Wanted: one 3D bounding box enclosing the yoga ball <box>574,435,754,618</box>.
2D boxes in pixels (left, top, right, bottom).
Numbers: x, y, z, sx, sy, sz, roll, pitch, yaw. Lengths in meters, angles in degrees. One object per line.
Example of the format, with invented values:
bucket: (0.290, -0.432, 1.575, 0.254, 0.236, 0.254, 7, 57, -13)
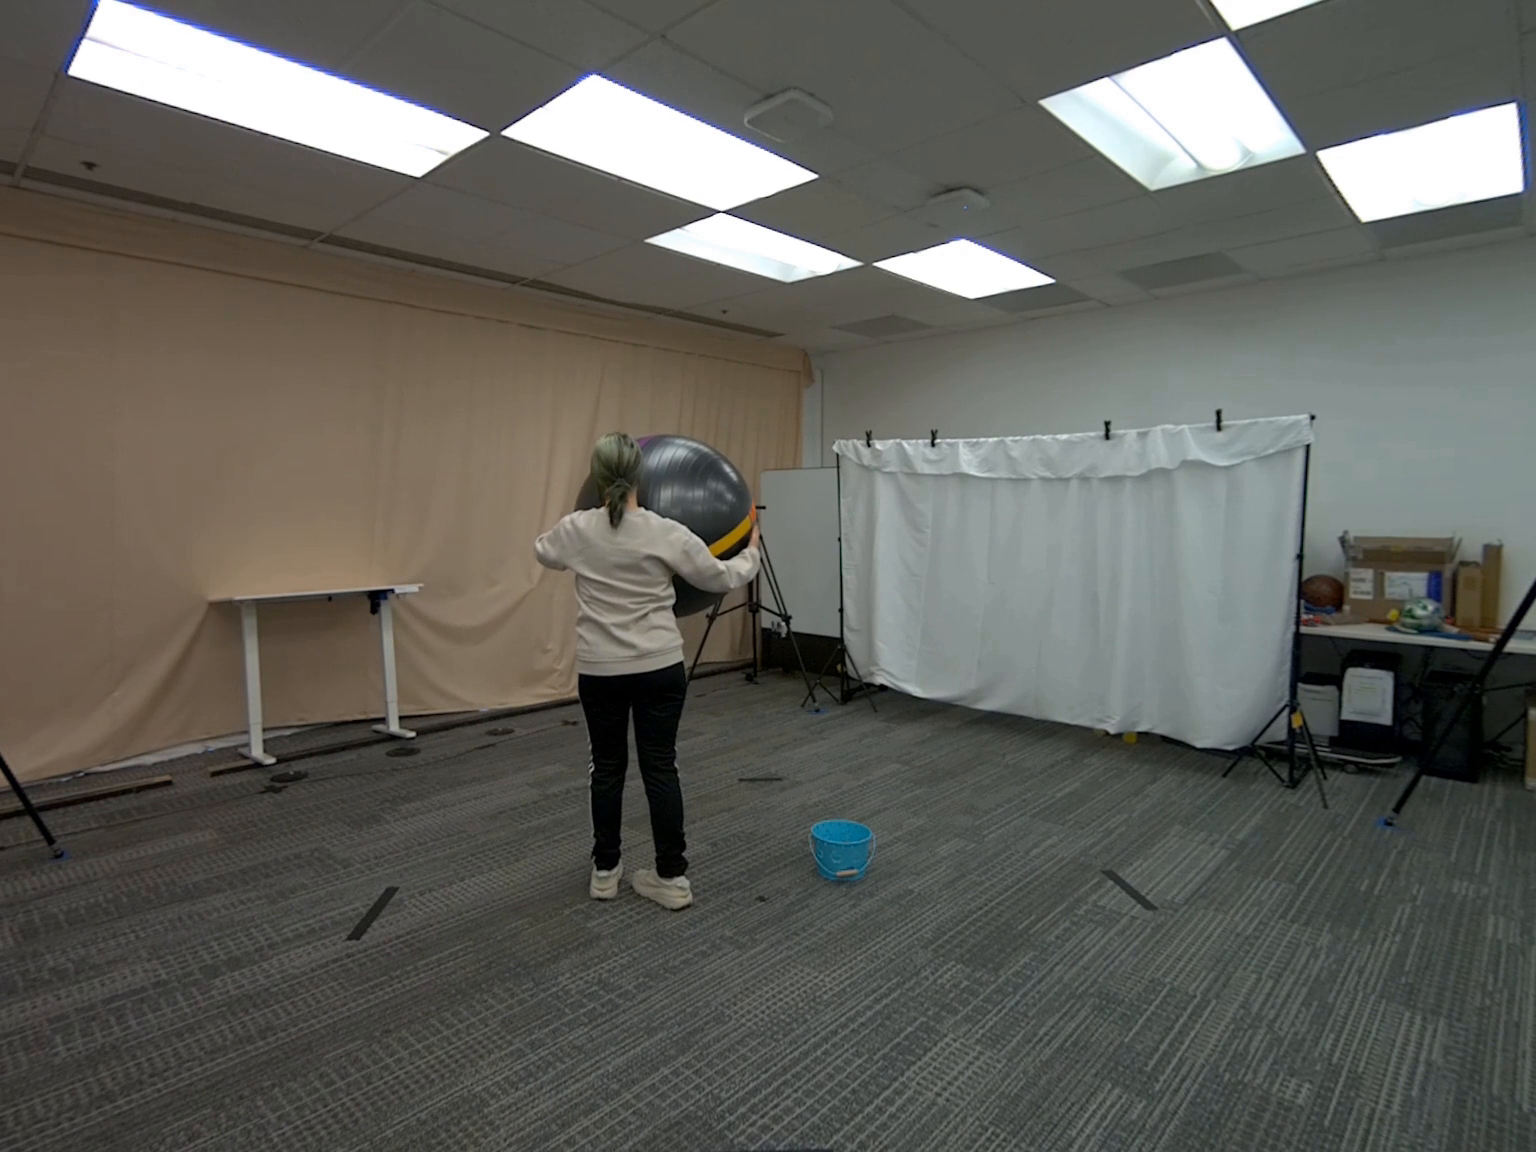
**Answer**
yoga ball: (-0.424, -0.195, 3.482, 0.757, 0.756, 0.761, 0, 4, -2)
